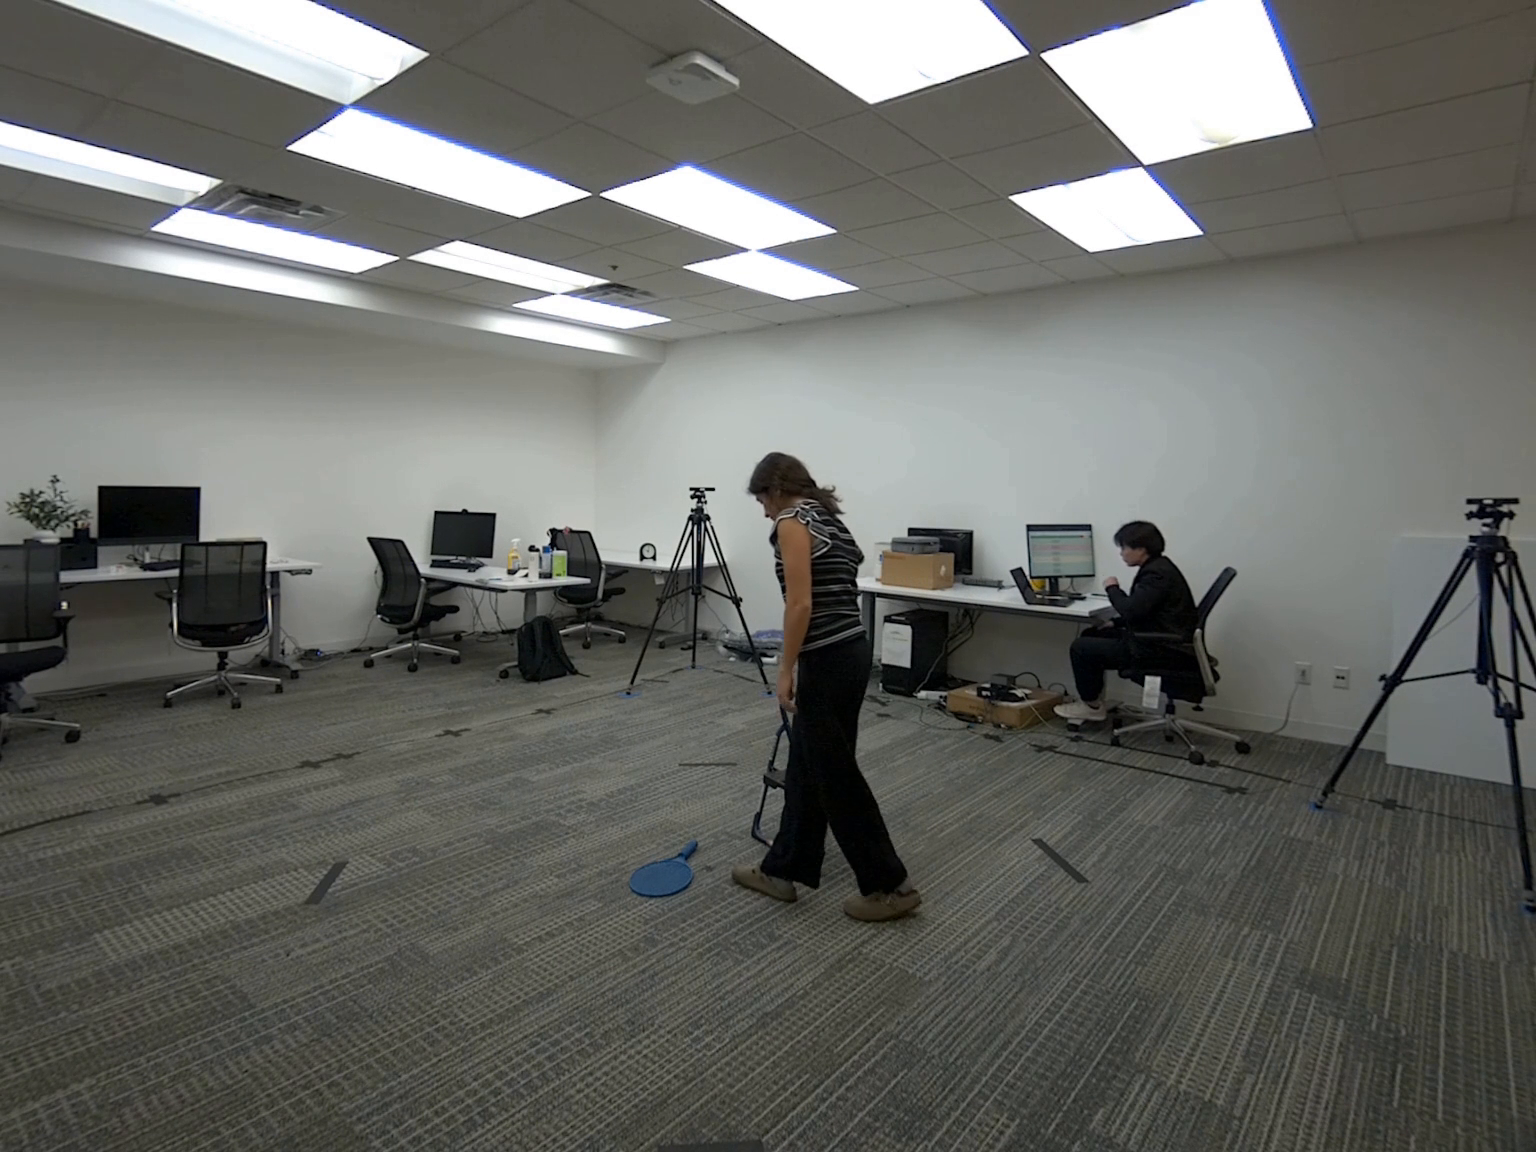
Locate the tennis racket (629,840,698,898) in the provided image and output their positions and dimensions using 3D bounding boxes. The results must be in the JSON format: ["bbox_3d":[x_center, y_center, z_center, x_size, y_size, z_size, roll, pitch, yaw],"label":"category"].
[{"bbox_3d":[-0.358,1.048,3.087,0.218,0.031,0.427,2,9,18],"label":"tennis racket"}]
